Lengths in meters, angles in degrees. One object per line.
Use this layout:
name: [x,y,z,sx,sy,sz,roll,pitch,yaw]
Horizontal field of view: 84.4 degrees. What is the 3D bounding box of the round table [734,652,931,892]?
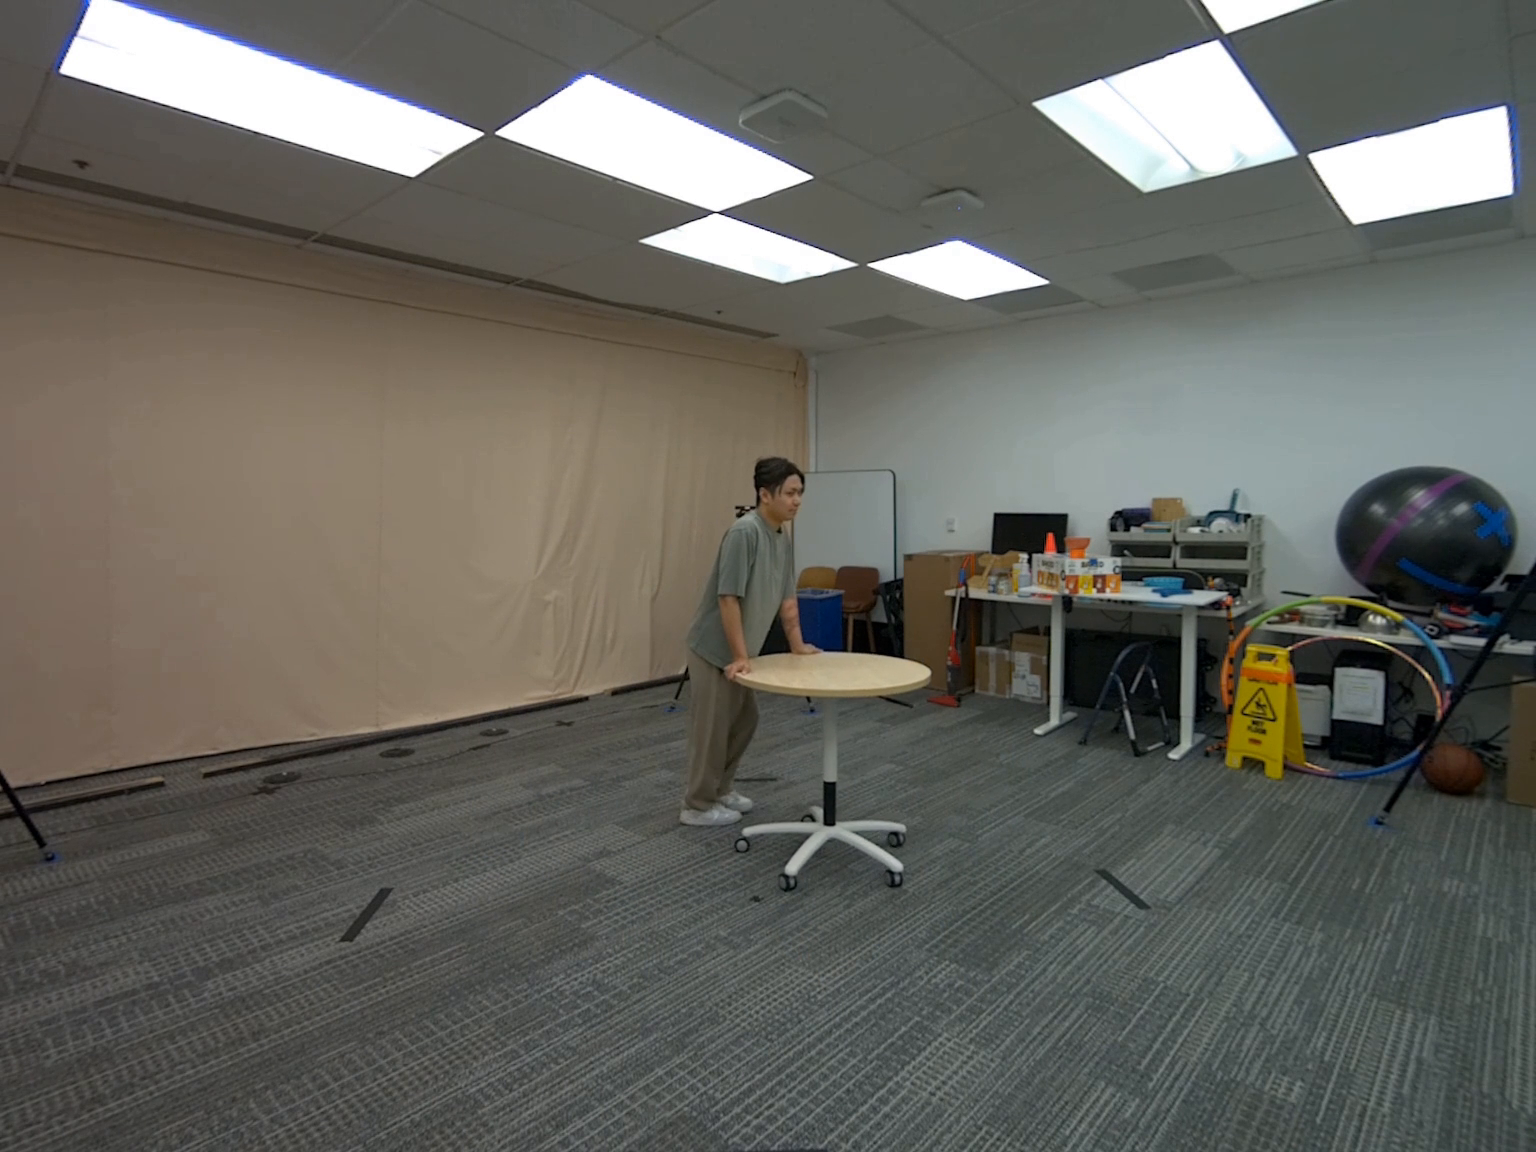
round table: [0.228,0.737,3.289,0.784,0.785,0.788,0,3,-2]
